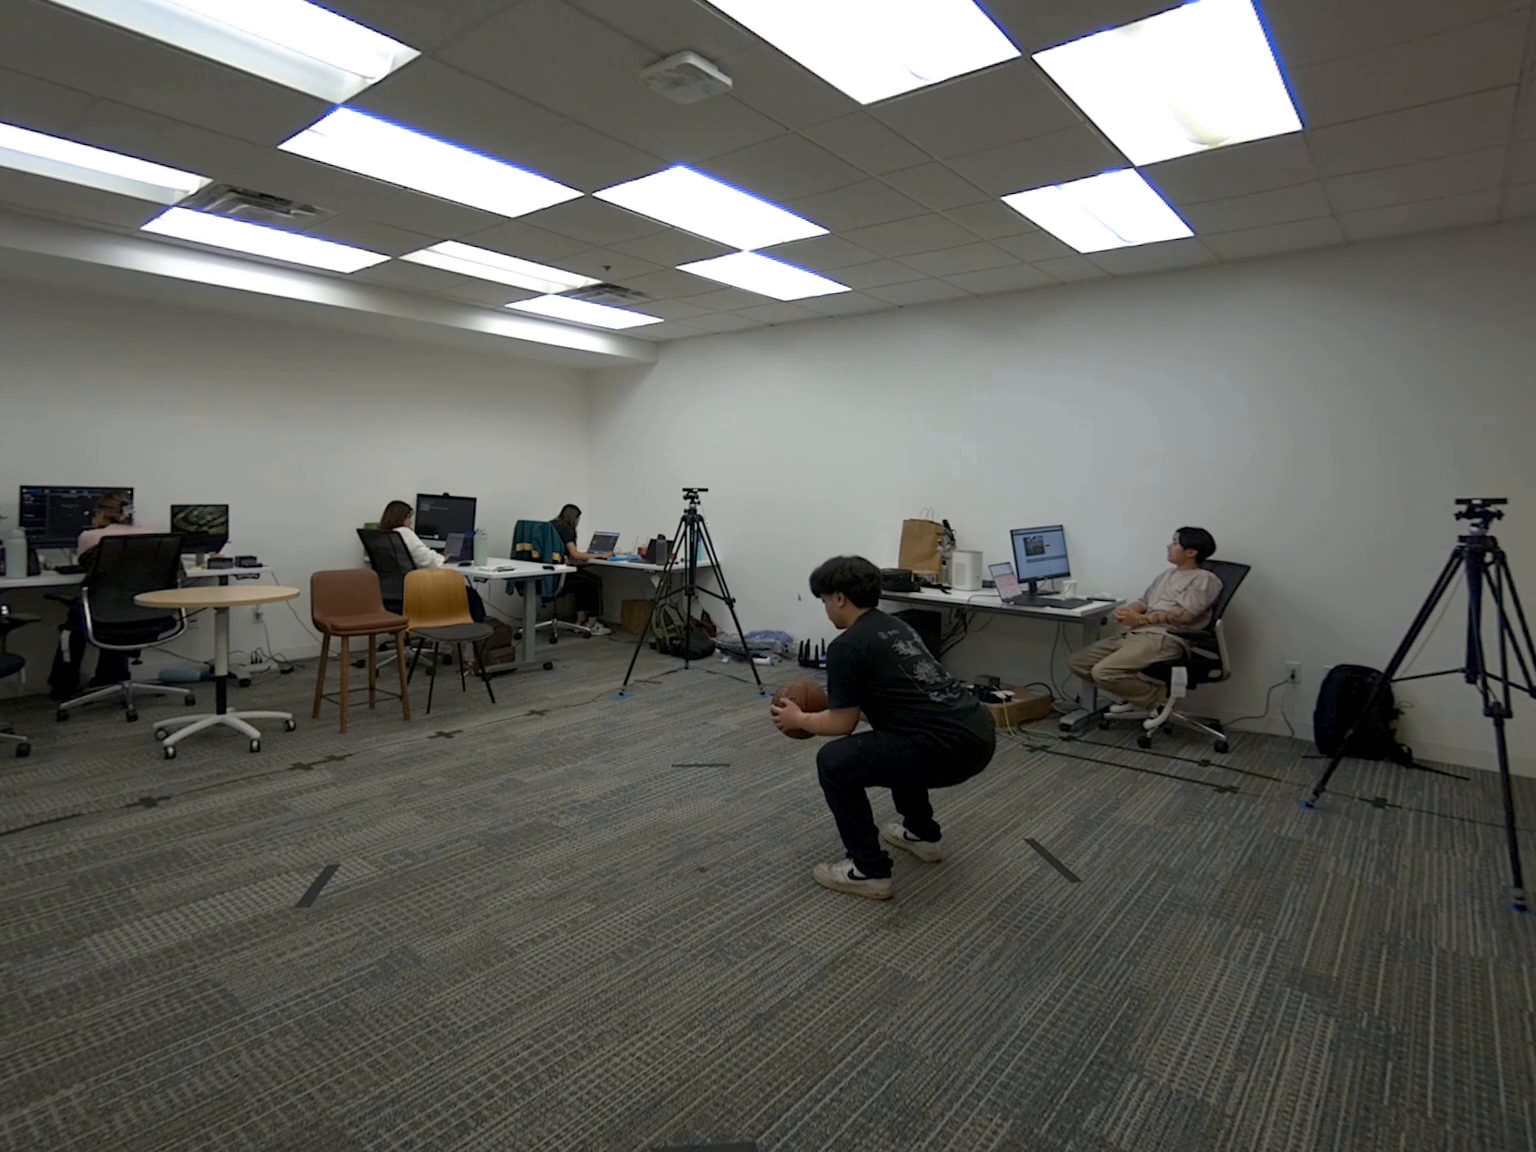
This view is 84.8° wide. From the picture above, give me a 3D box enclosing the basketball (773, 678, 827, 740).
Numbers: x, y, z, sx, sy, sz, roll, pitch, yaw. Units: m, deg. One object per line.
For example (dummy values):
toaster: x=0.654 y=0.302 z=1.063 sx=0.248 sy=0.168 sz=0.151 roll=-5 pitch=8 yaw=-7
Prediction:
basketball: x=0.122 y=0.528 z=3.409 sx=0.235 sy=0.235 sz=0.237 roll=1 pitch=4 yaw=-2
